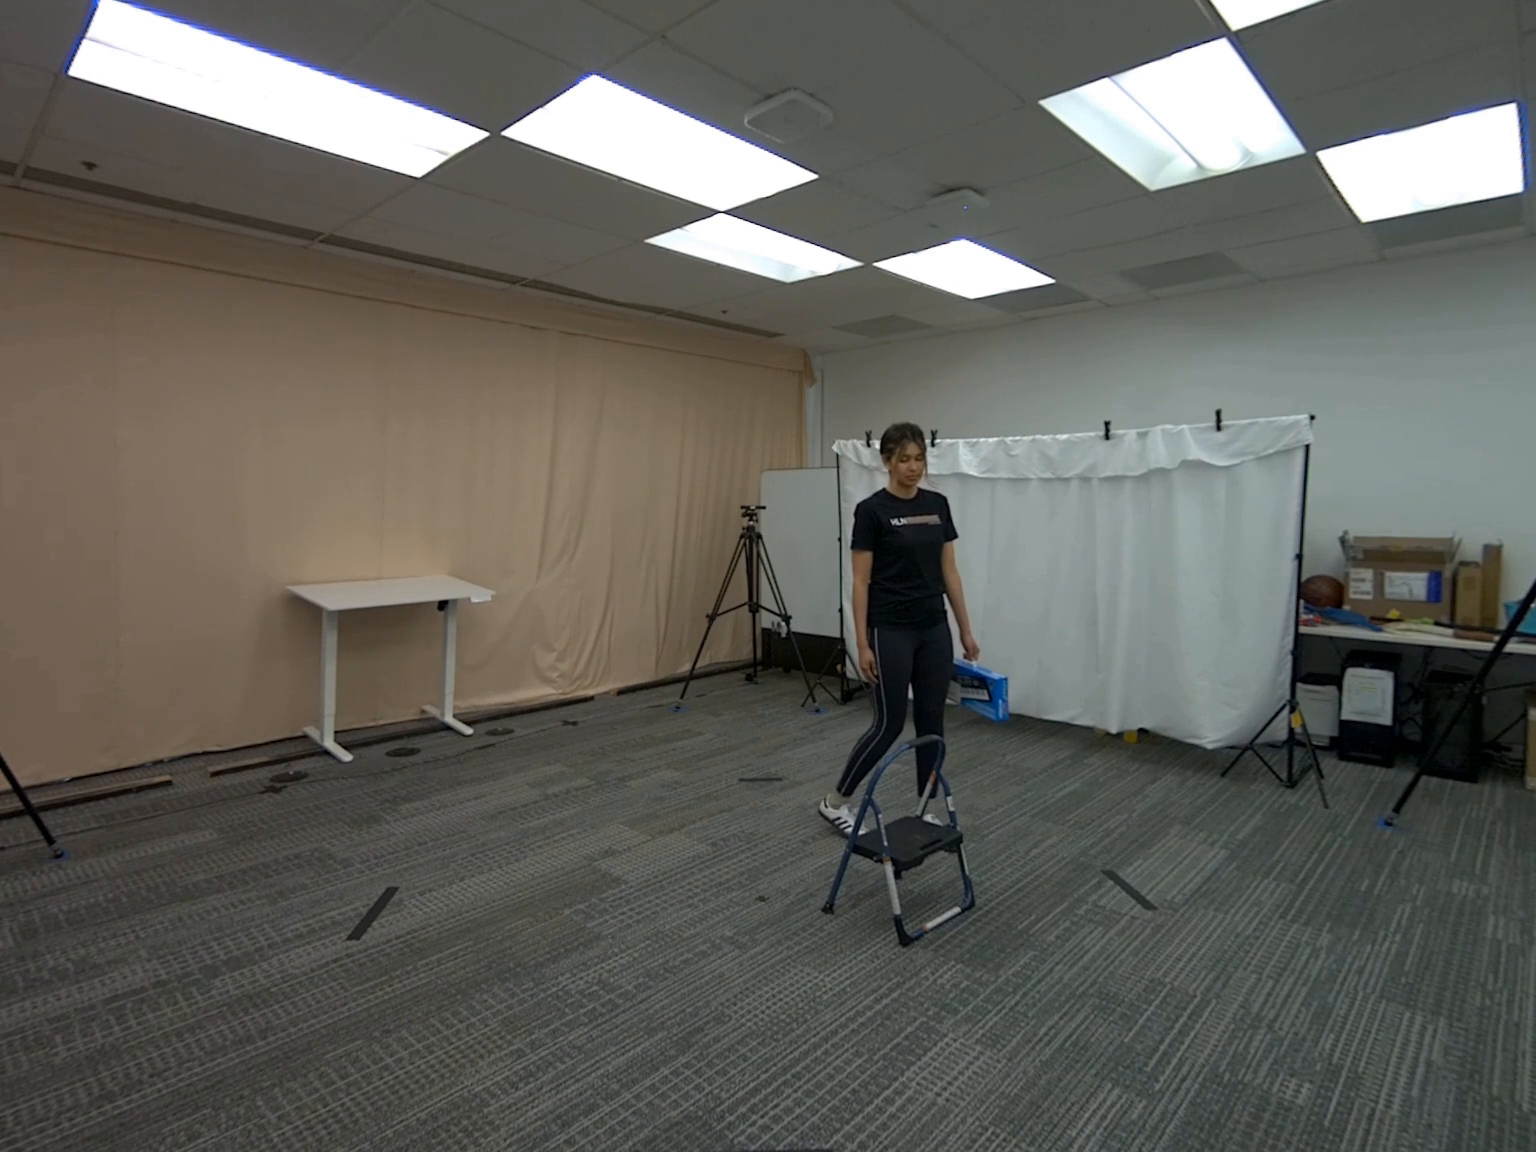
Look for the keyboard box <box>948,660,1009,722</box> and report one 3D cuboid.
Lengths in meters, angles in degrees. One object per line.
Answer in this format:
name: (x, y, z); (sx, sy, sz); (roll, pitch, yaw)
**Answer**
keyboard box: (0.839, 0.459, 3.524); (0.058, 0.175, 0.447); (-4, 7, -21)
